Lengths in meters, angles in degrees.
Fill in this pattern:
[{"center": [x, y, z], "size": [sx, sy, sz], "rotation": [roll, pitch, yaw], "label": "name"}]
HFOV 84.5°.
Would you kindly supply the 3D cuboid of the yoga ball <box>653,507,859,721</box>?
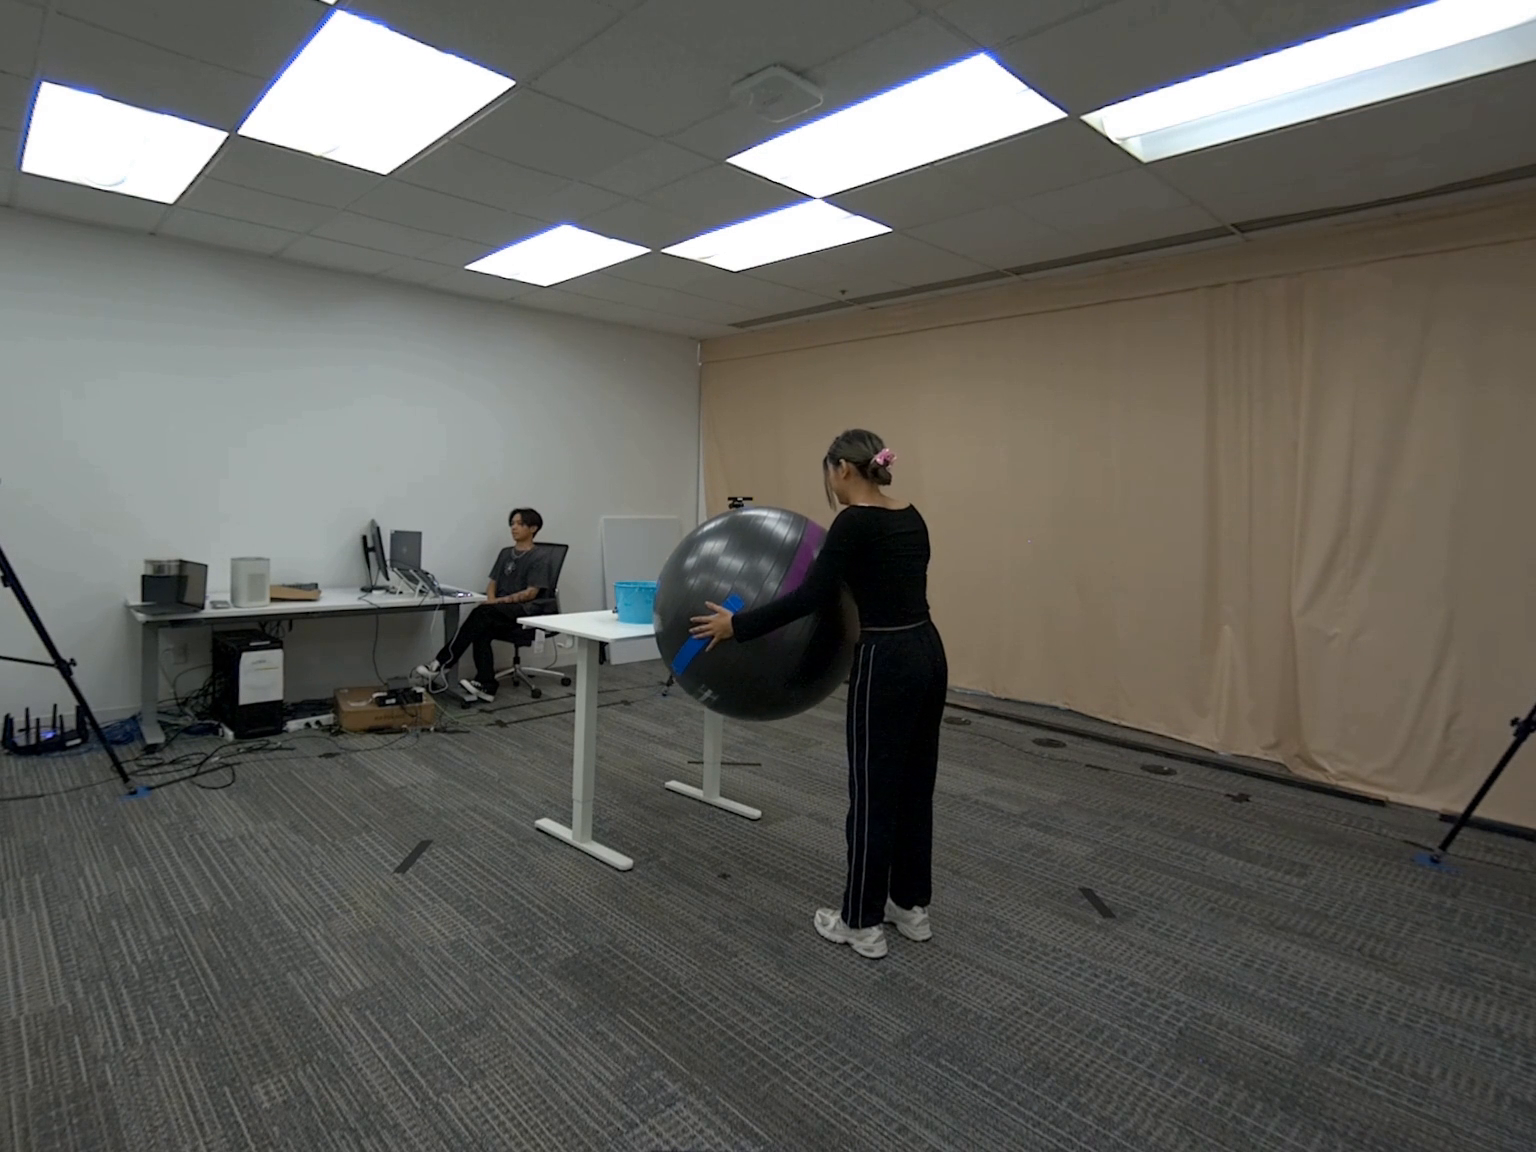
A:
[{"center": [-0.031, 0.133, 2.996], "size": [0.757, 0.756, 0.760], "rotation": [1, 4, -1], "label": "yoga ball"}]
